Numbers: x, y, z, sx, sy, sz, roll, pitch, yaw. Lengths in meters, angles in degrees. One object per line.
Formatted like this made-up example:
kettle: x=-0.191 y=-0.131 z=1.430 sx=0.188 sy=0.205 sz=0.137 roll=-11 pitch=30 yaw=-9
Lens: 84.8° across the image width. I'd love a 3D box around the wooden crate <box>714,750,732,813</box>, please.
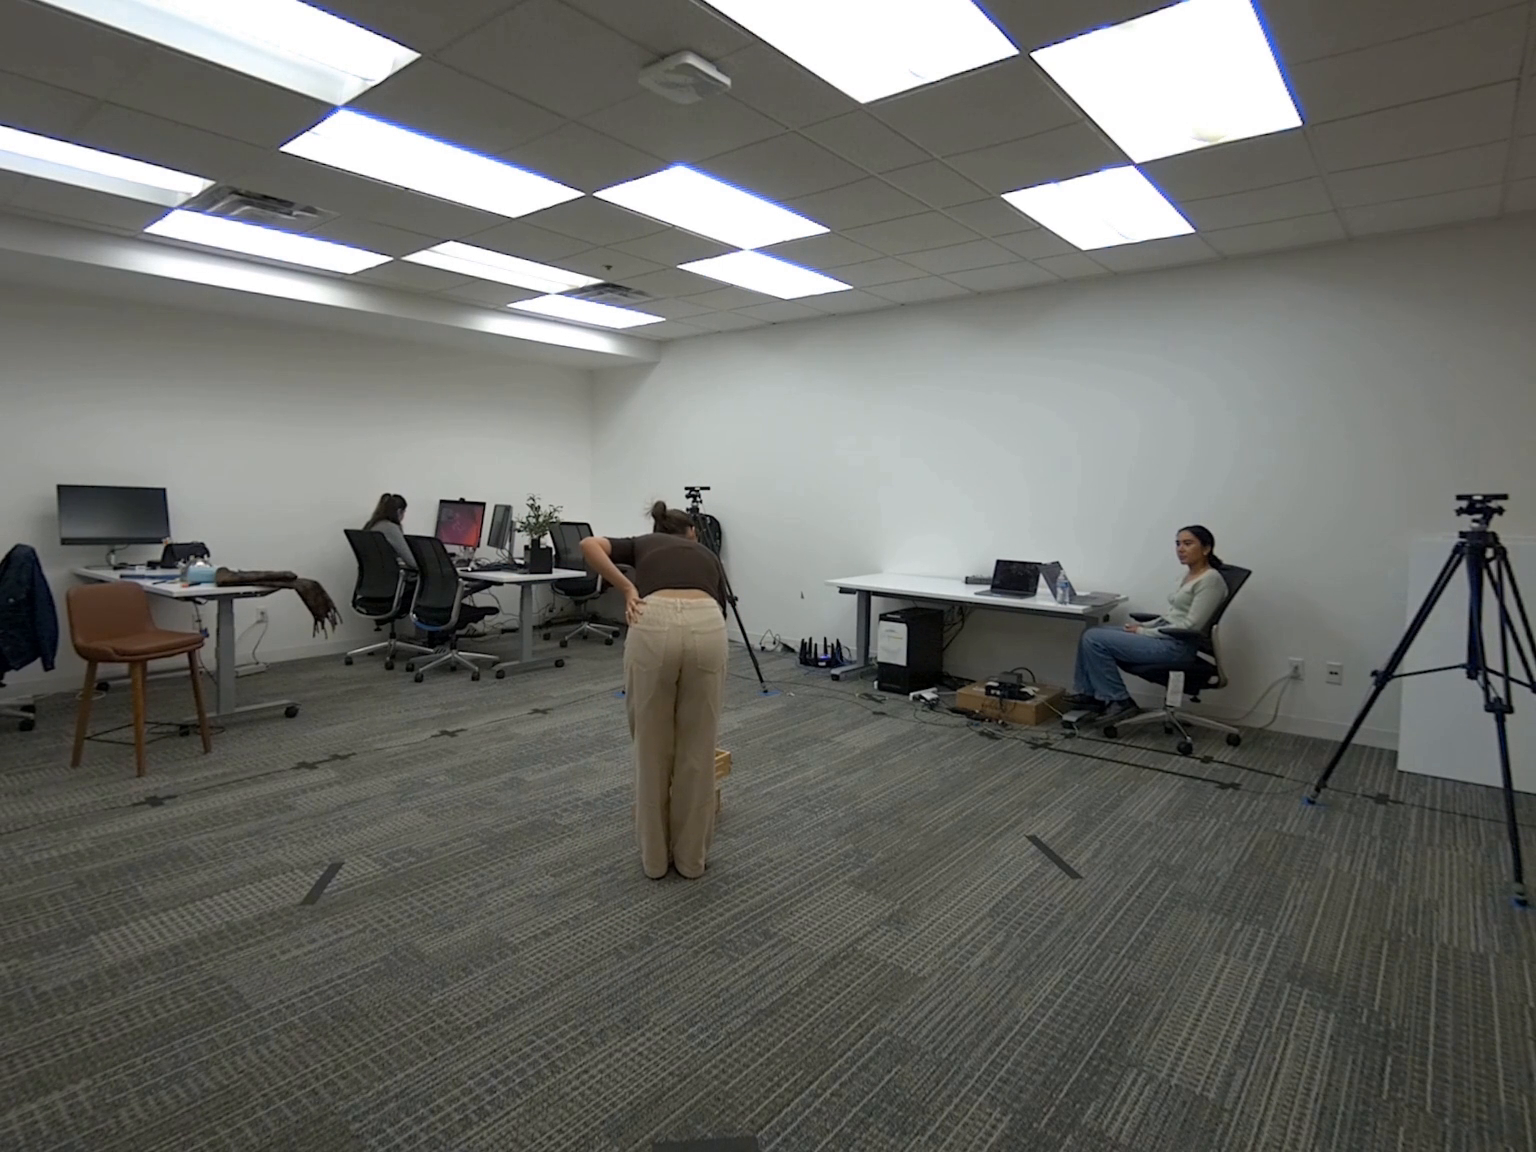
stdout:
wooden crate: x=-0.377 y=0.874 z=3.603 sx=0.311 sy=0.272 sz=0.316 roll=5 pitch=6 yaw=32
